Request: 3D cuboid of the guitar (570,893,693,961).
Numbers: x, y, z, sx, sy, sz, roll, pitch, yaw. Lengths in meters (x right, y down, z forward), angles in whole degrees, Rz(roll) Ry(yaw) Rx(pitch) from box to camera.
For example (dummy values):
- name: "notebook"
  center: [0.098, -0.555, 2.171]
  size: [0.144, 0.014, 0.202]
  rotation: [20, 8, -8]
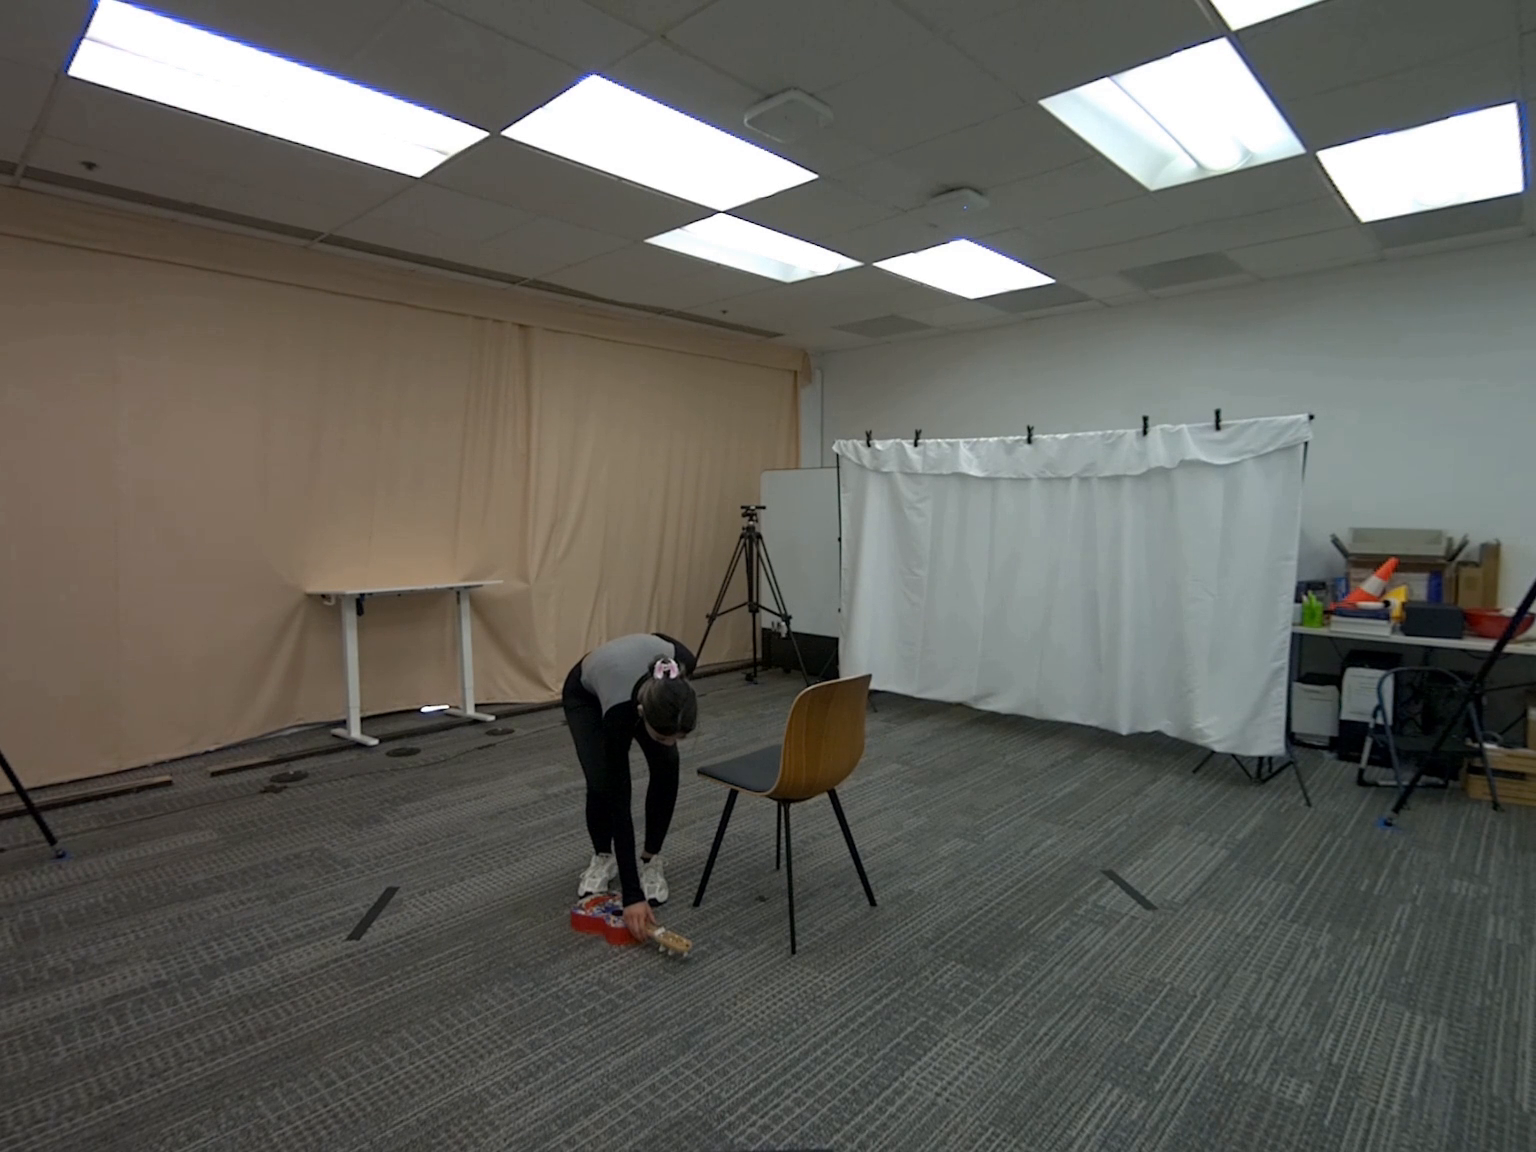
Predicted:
- name: "guitar"
  center: [-0.453, 1.136, 2.696]
  size: [0.187, 0.070, 0.514]
  rotation: [-4, 6, -40]
